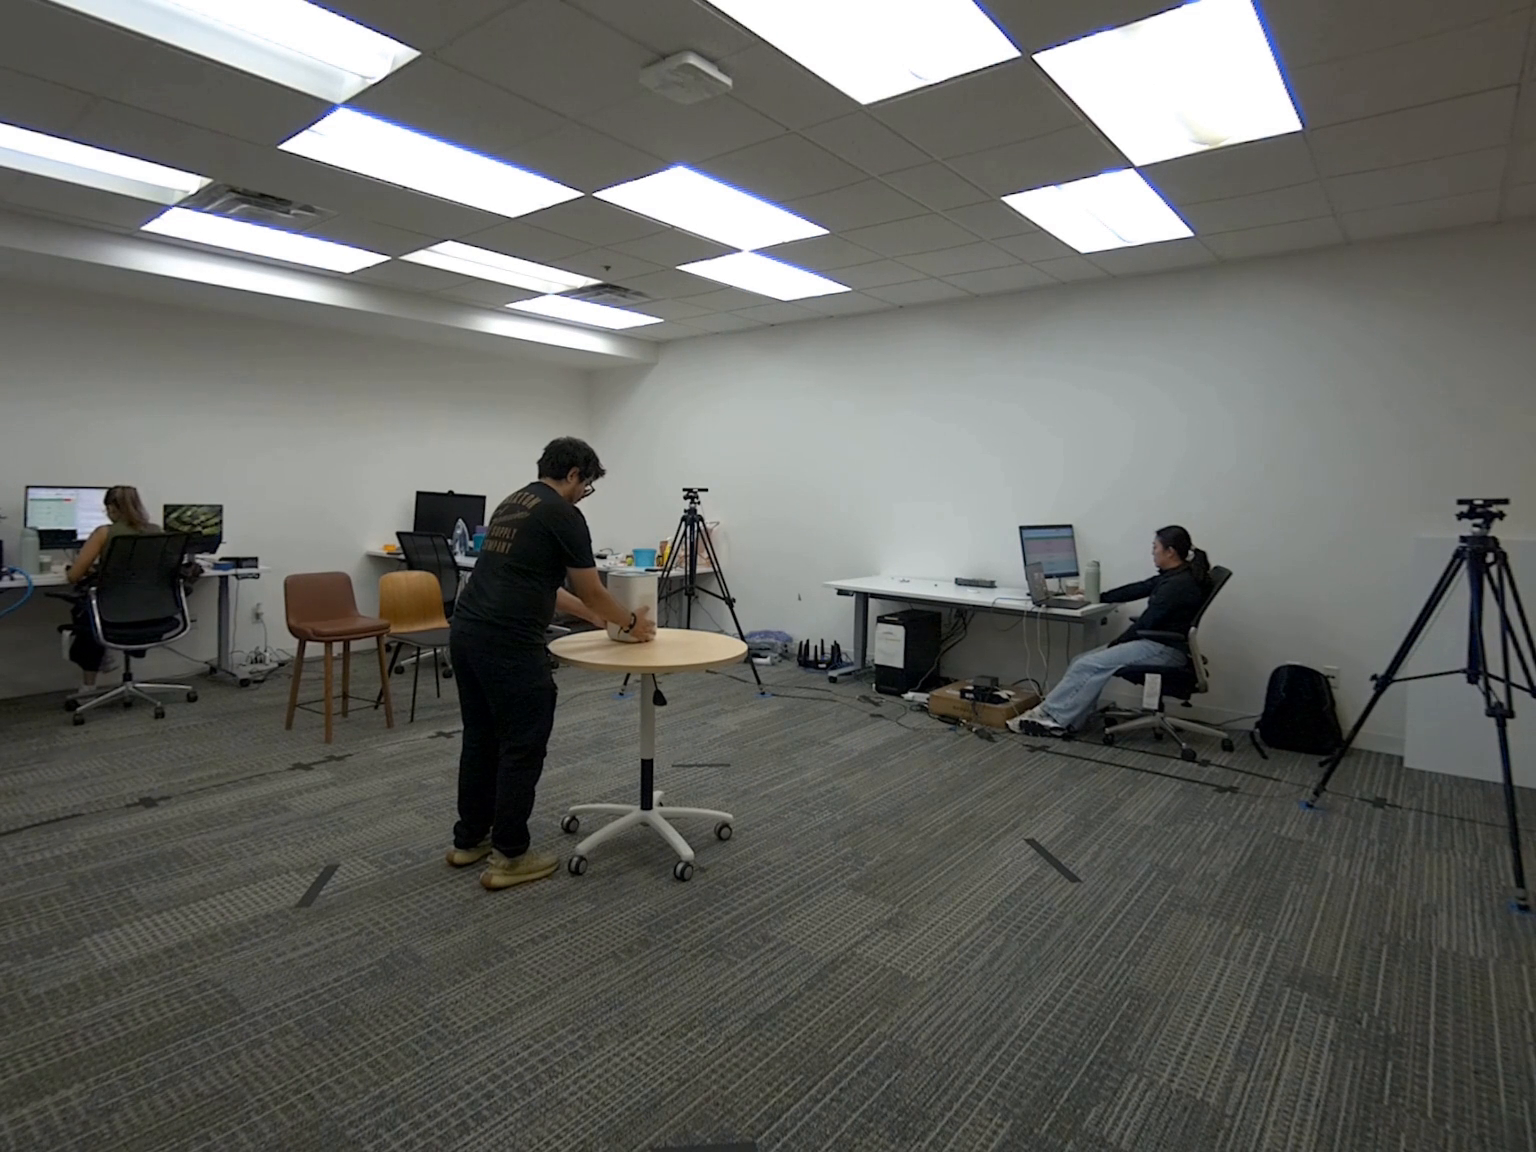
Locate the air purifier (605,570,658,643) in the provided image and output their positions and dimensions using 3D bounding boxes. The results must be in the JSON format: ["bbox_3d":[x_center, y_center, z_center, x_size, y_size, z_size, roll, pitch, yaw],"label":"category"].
[{"bbox_3d":[-0.560,0.120,3.397,0.176,0.265,0.167,2,3,33],"label":"air purifier"}]
